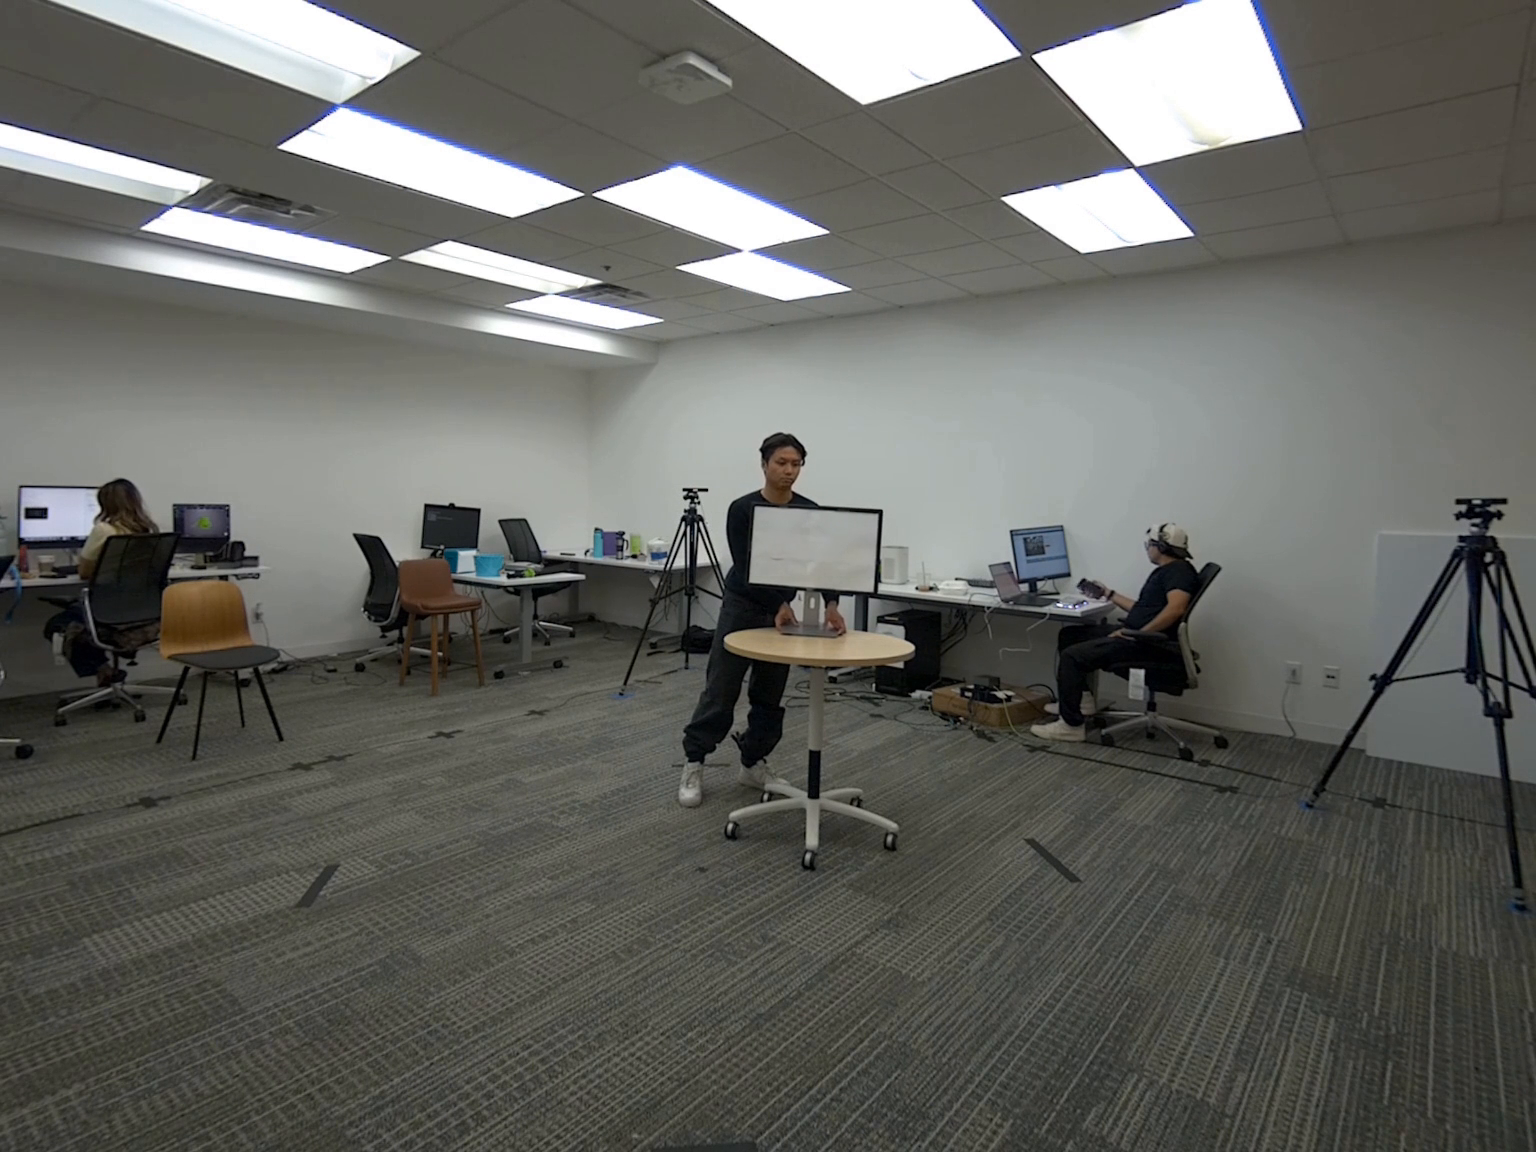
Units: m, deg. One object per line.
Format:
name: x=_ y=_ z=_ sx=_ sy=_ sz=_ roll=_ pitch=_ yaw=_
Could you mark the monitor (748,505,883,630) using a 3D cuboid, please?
monitor: x=0.186 y=-0.036 z=3.641 sx=0.544 sy=0.519 sz=0.186 roll=4 pitch=7 yaw=8
